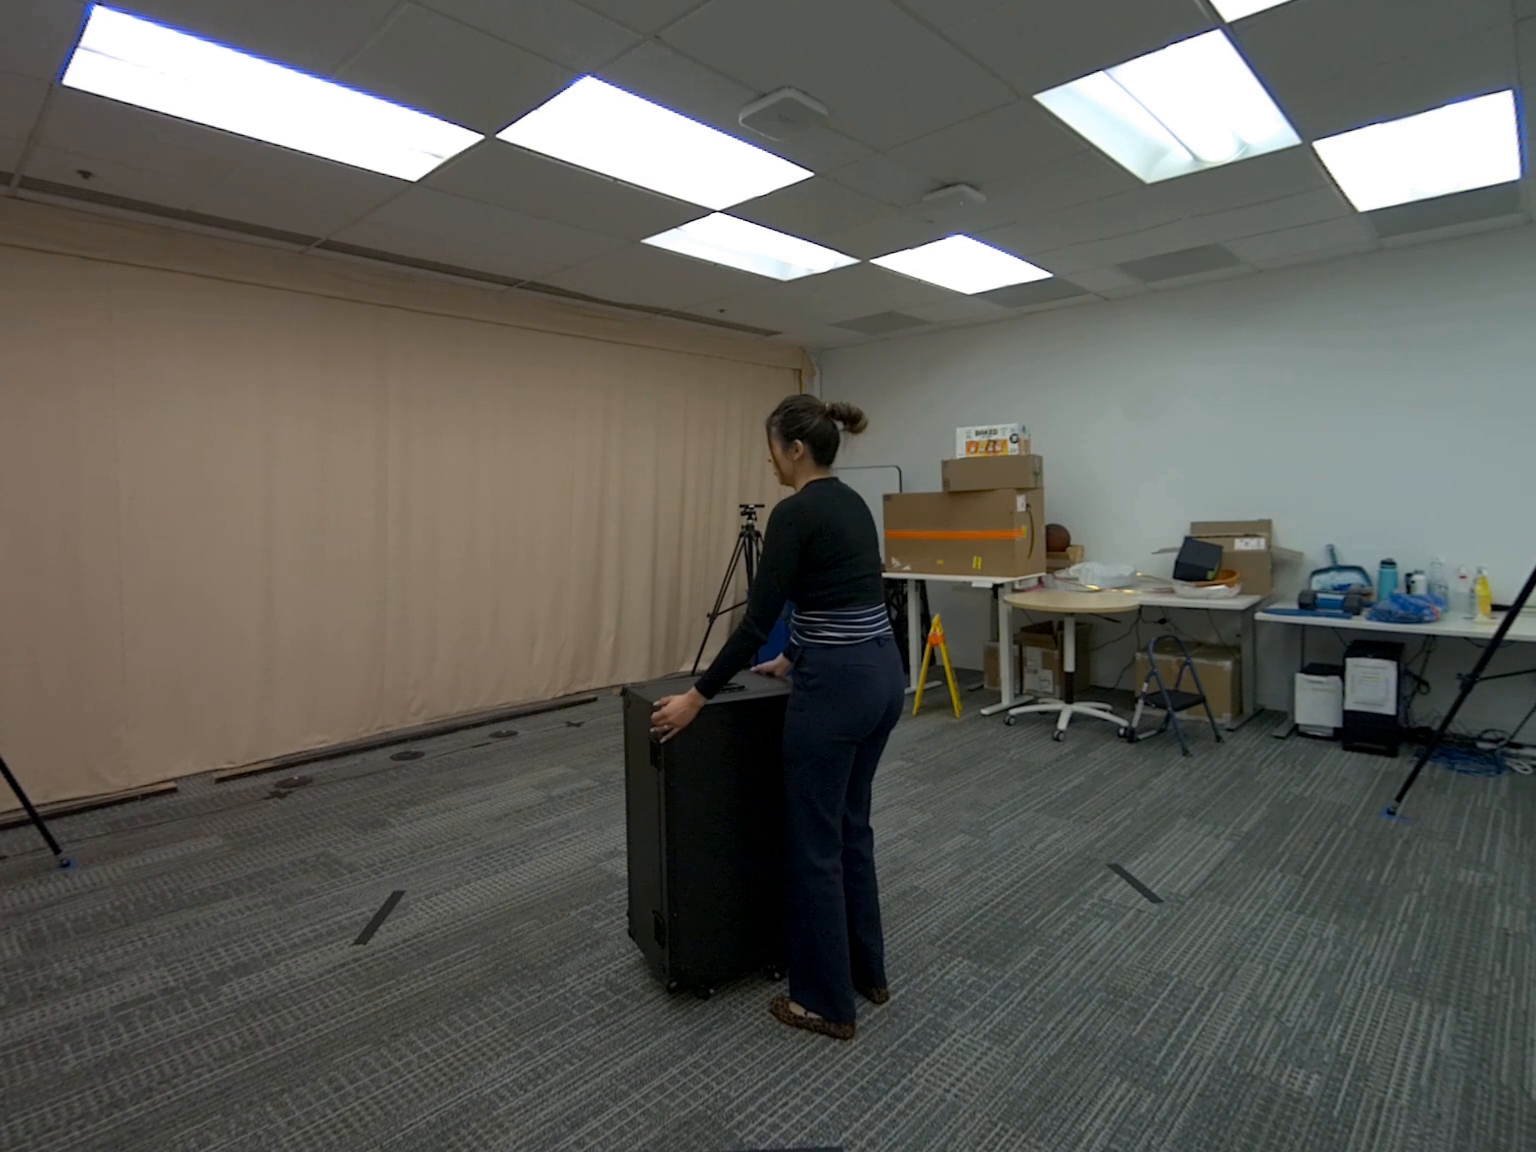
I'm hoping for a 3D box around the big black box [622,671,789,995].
[{"bbox_3d":[-0.154,0.756,2.534,0.509,0.860,0.406,-3,3,-26],"label":"big black box"}]
